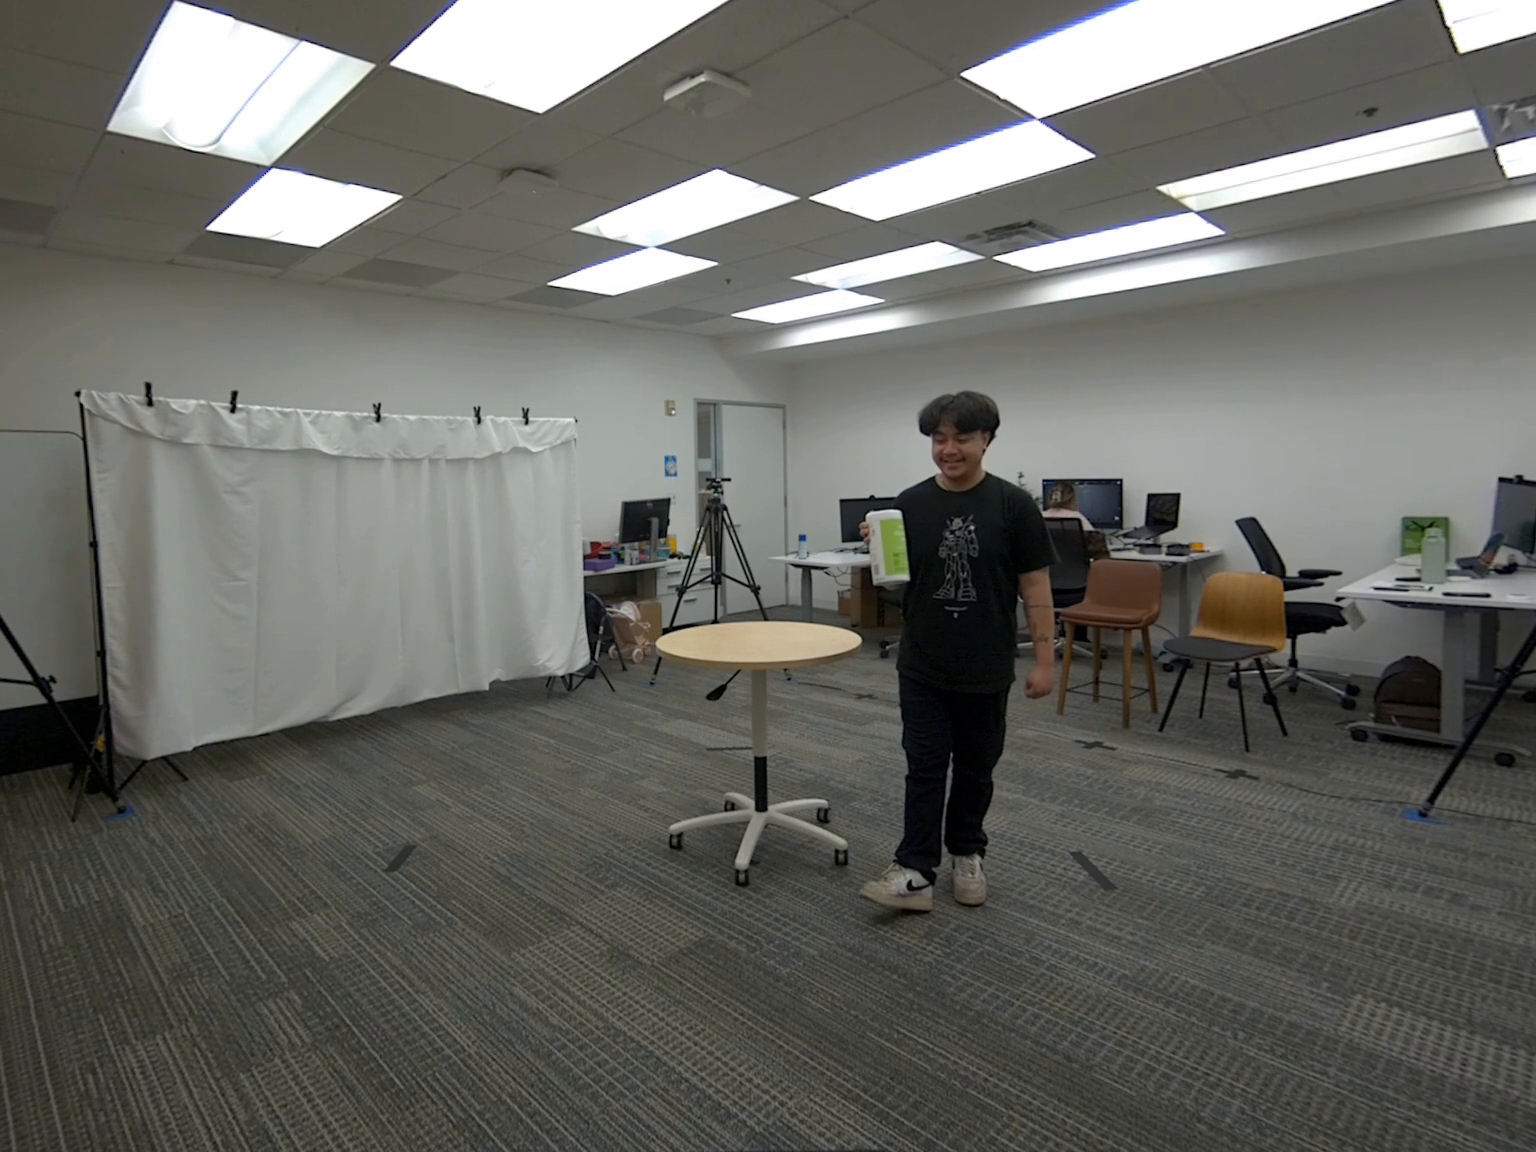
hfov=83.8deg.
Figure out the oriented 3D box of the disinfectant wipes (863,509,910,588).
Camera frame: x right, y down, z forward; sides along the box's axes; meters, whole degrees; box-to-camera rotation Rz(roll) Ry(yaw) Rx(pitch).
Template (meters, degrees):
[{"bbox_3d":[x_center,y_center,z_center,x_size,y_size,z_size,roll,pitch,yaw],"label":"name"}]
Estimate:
[{"bbox_3d":[0.342,-0.080,2.564,0.117,0.219,0.117,-5,-7,-2],"label":"disinfectant wipes"}]
